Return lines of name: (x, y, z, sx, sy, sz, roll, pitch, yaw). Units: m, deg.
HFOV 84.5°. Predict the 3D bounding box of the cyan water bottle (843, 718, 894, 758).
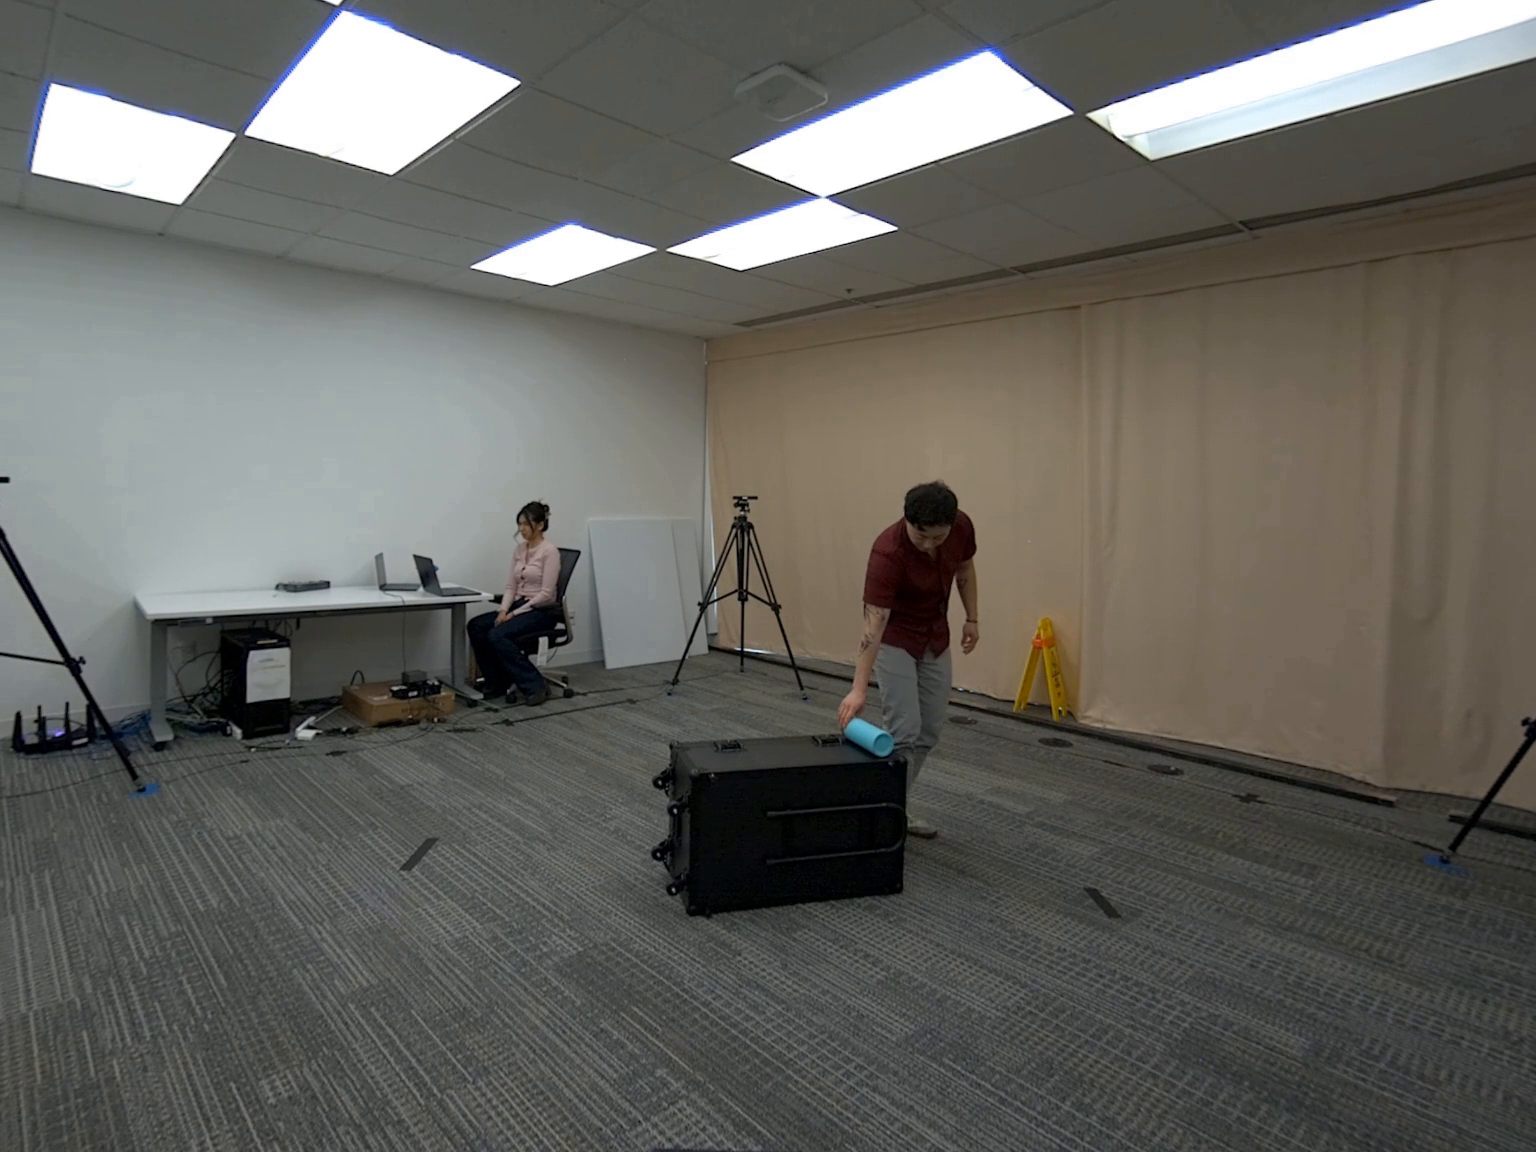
cyan water bottle: (0.348, 0.582, 3.100, 0.091, 0.092, 0.288, 0, 4, -20)
